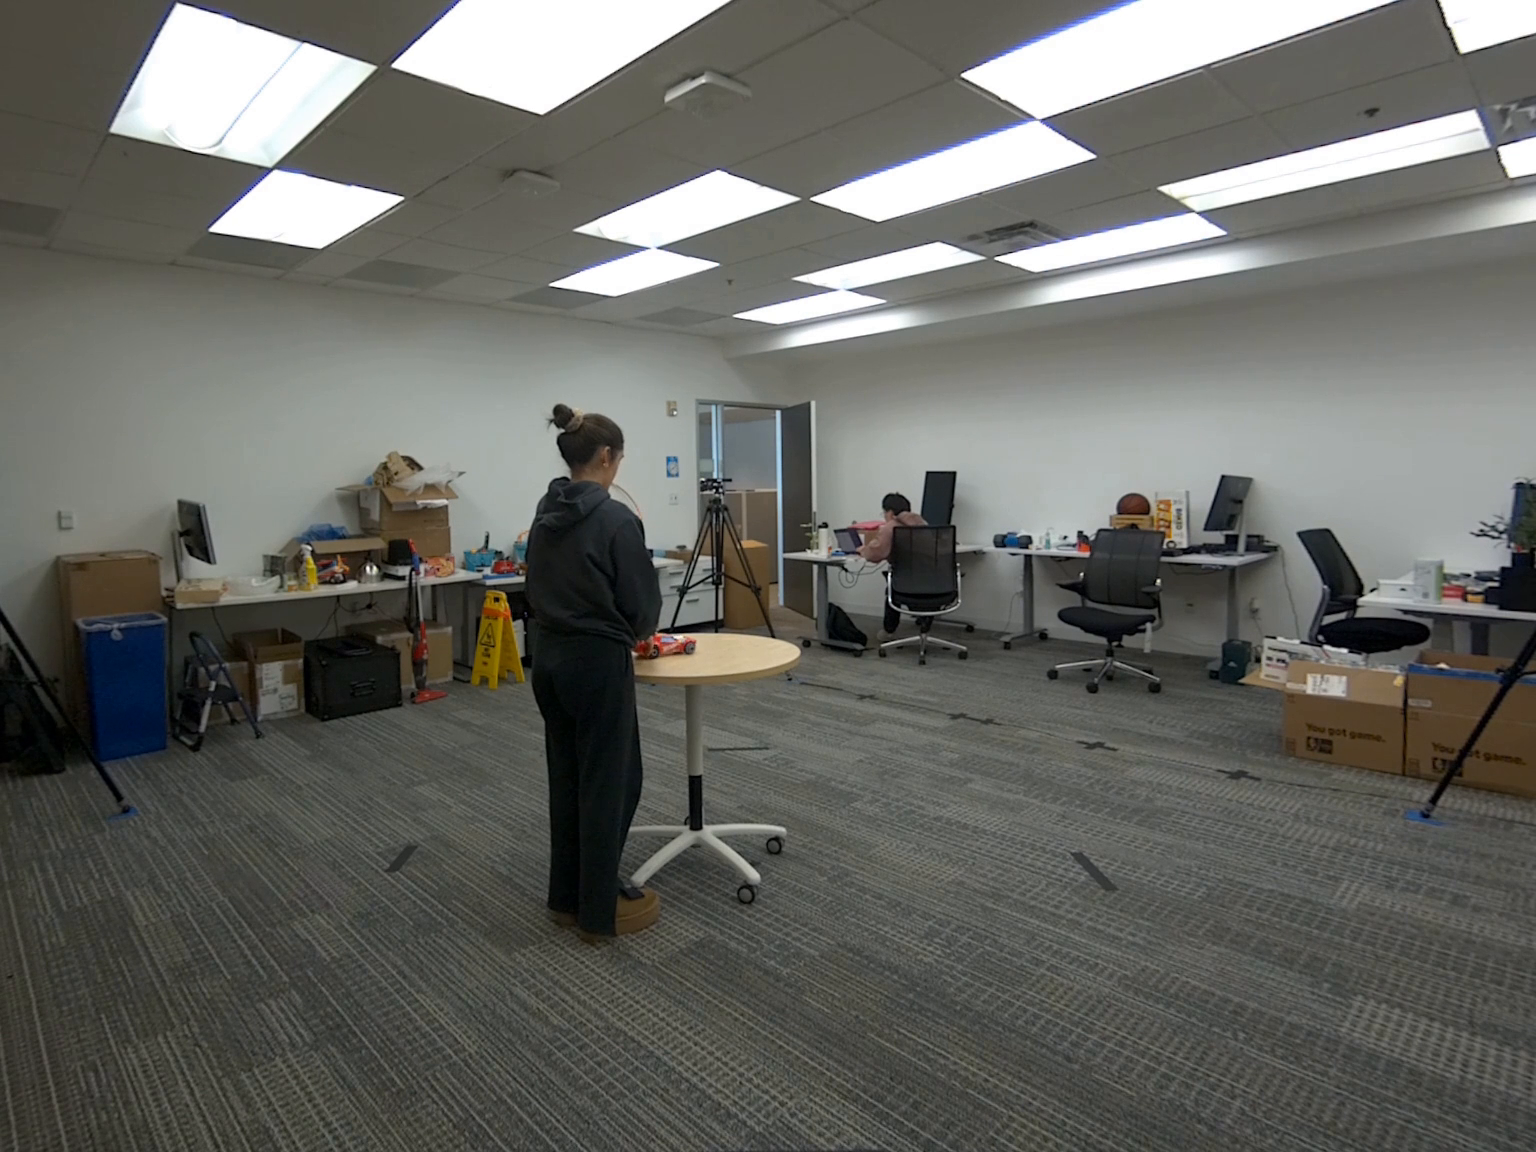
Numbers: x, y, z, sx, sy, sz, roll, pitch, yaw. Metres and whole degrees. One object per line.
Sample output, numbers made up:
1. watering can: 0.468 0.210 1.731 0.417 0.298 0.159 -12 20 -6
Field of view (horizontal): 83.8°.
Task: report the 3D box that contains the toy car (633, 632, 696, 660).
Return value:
1. toy car: -0.382 0.248 2.999 0.247 0.083 0.134 8 0 -31
